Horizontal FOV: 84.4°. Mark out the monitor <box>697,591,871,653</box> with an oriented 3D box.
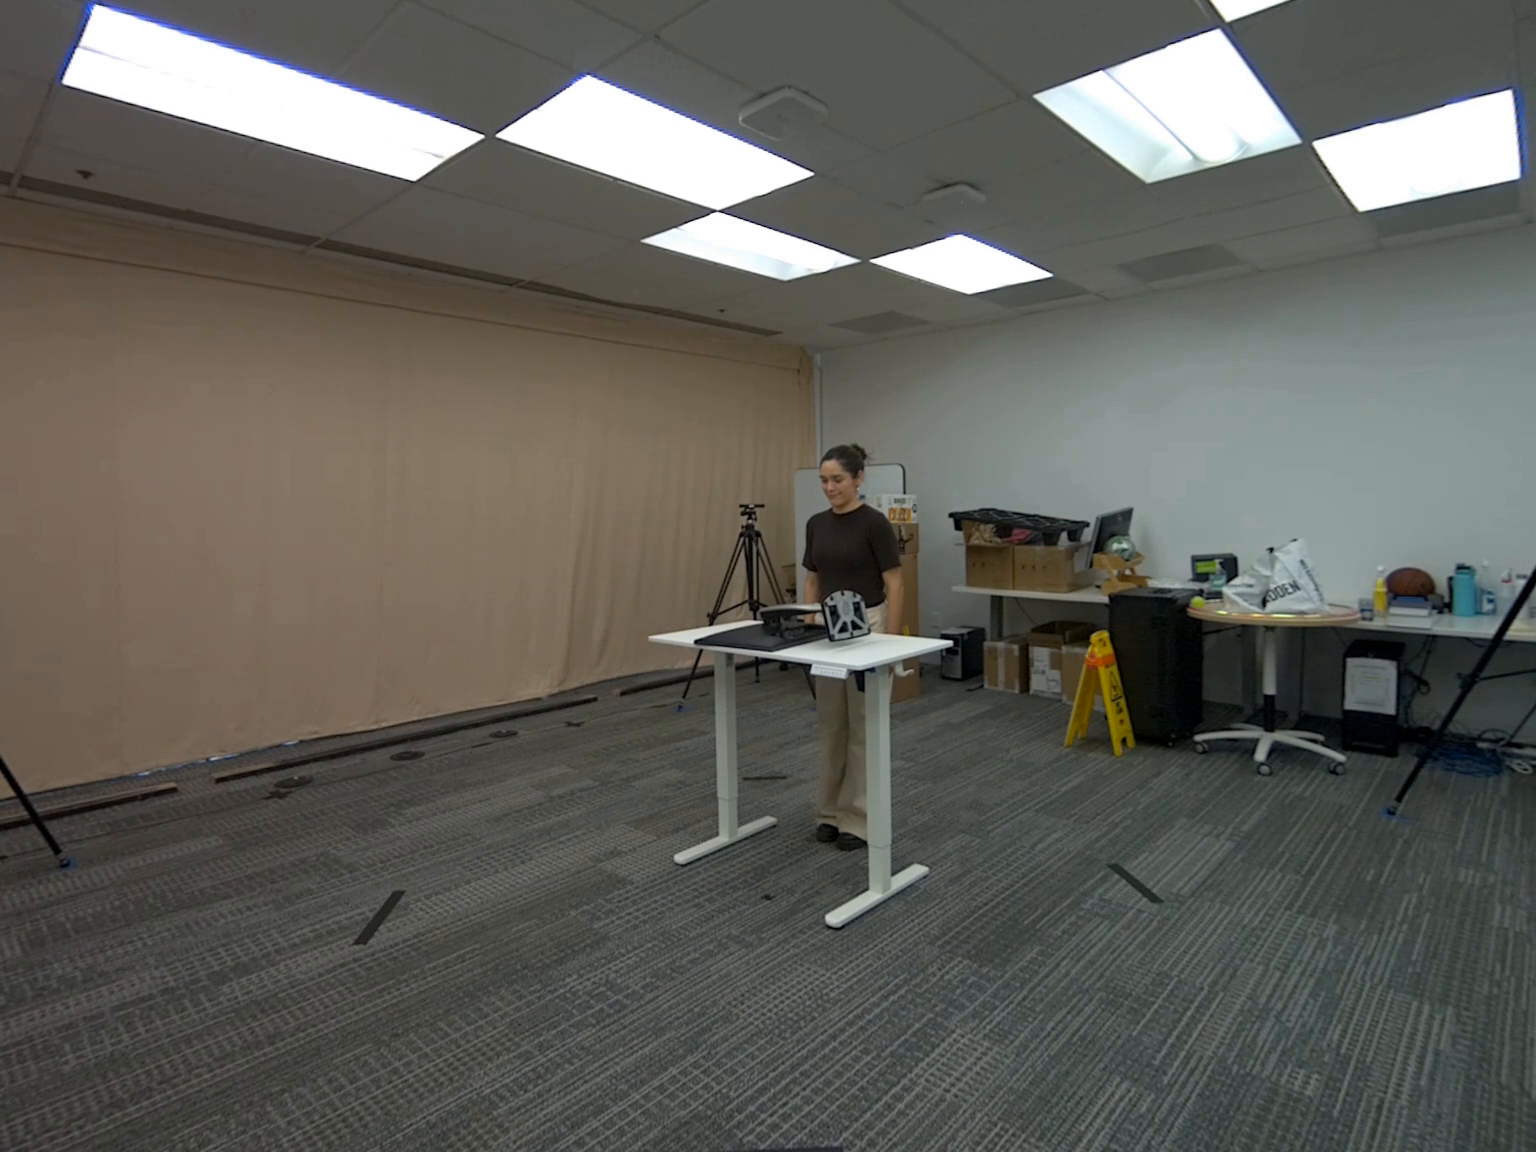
[{"bbox_3d":[0.087,0.187,3.153,0.536,0.188,0.522,-13,-6,38],"label":"monitor"}]
